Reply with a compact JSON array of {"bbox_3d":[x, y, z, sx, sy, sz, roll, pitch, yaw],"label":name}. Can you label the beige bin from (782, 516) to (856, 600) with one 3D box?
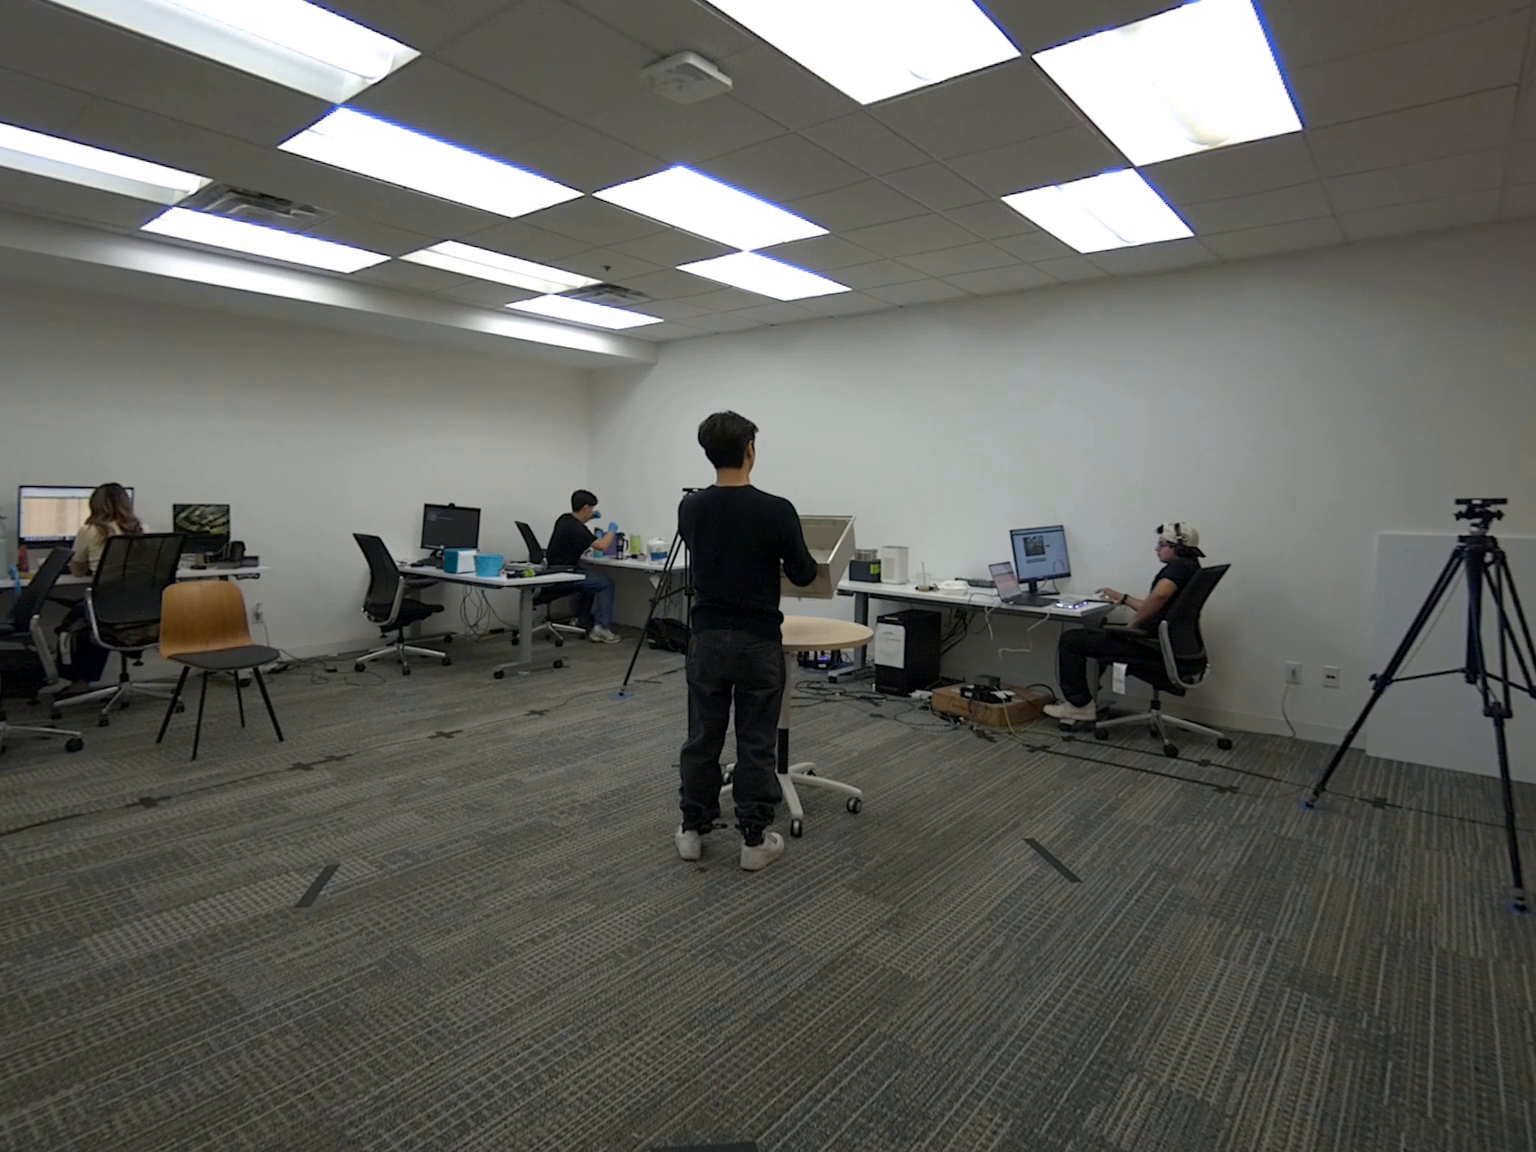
[{"bbox_3d":[0.153,-0.087,3.748,0.387,0.184,0.424,3,31,23],"label":"beige bin"}]
